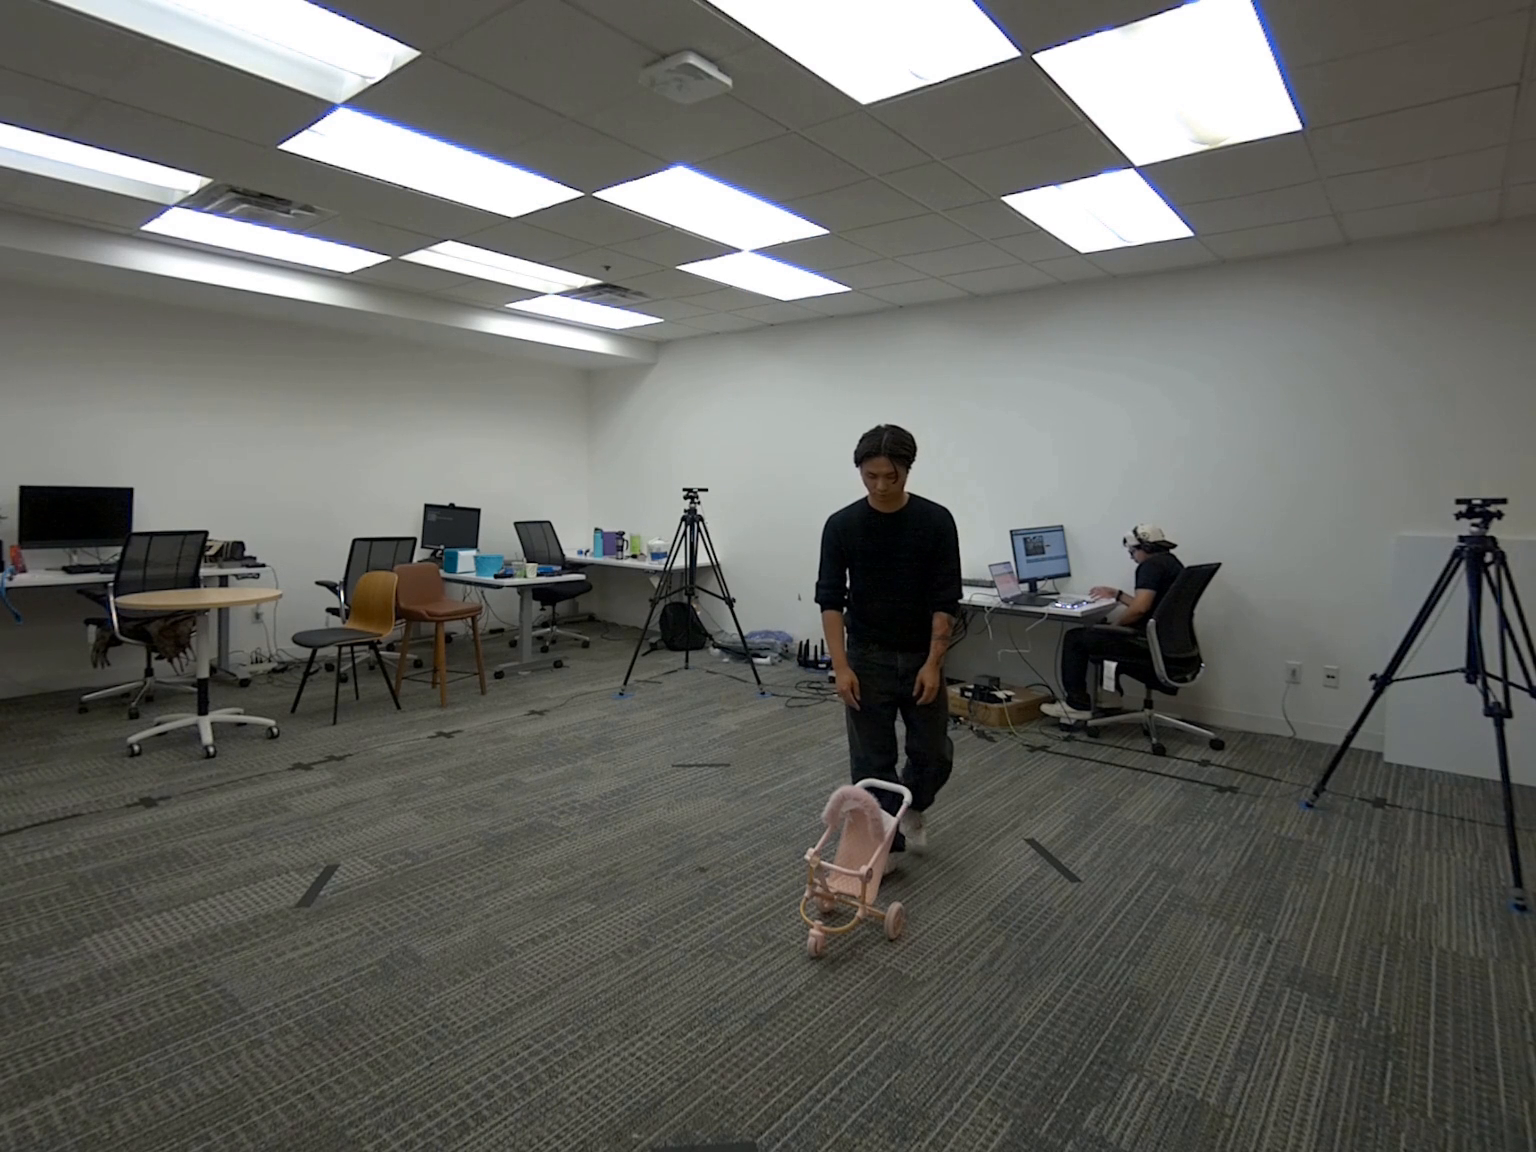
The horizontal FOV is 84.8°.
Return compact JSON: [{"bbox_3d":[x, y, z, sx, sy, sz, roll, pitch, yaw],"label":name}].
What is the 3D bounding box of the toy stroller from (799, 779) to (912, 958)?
[{"bbox_3d":[0.255,0.901,2.683,0.291,0.539,0.328,4,-13,42],"label":"toy stroller"}]
